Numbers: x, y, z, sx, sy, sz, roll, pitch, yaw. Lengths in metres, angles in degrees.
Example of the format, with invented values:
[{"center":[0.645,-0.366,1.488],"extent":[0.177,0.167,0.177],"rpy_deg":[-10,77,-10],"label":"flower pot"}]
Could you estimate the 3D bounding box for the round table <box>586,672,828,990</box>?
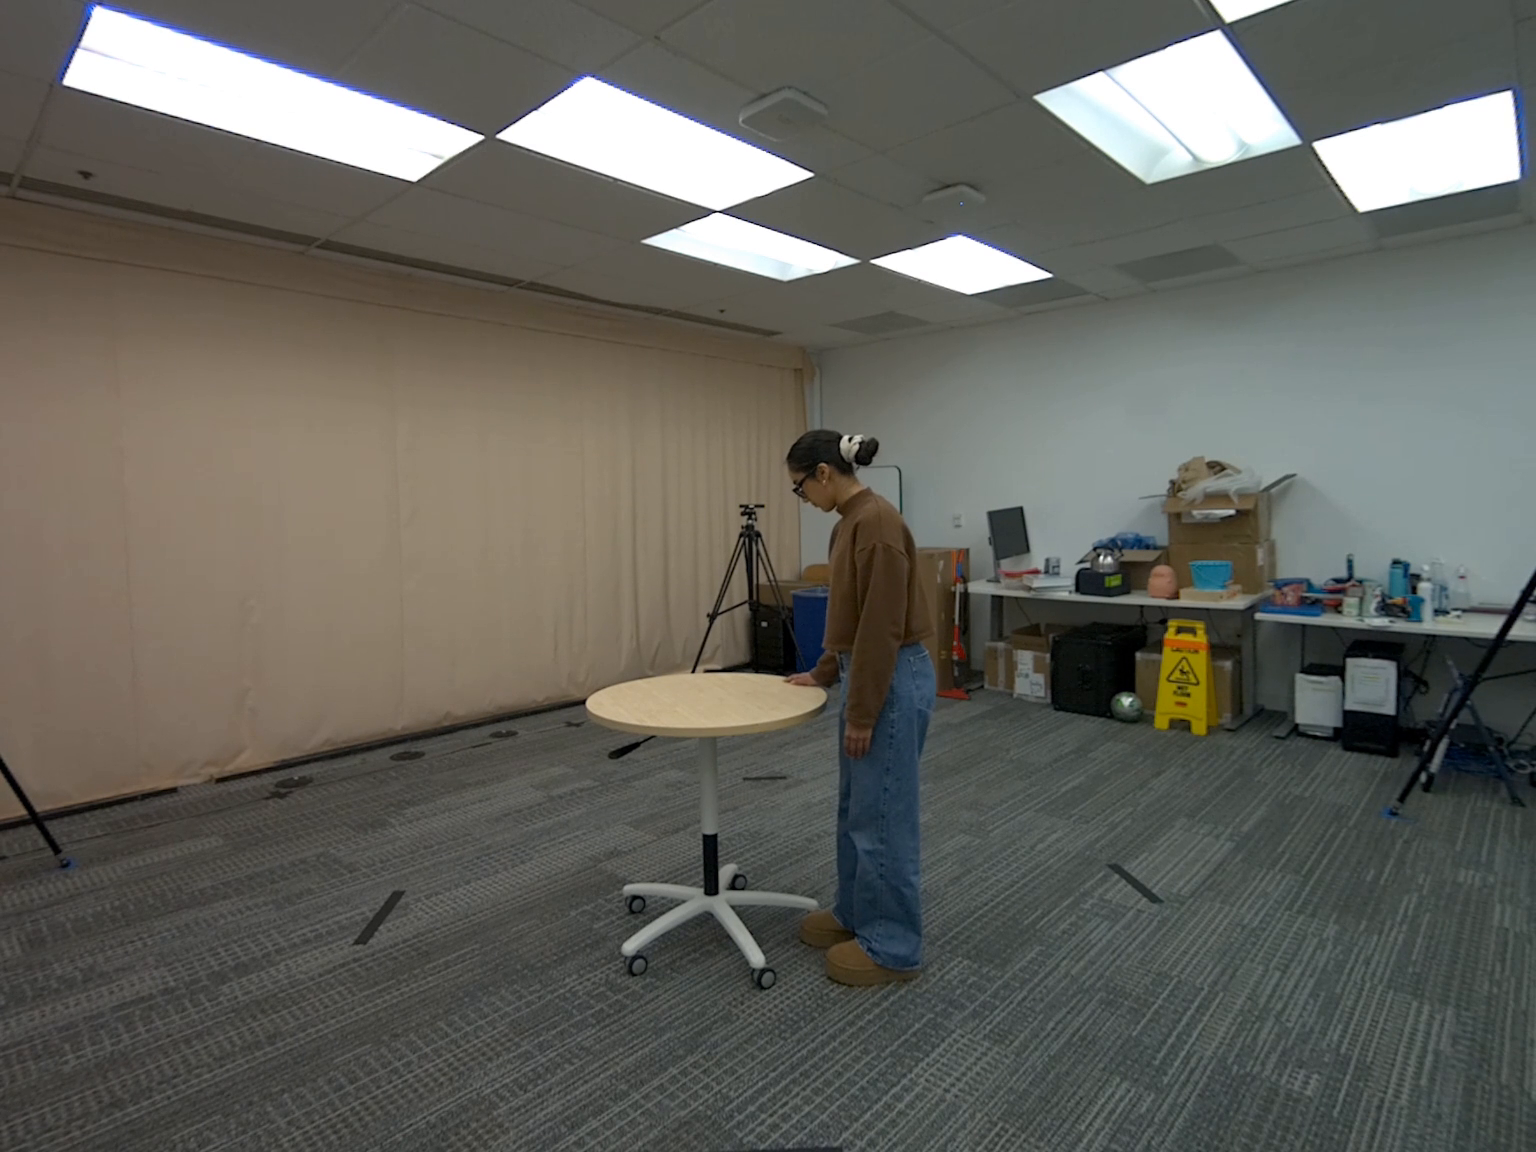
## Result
[{"center":[-0.186,0.780,2.711],"extent":[0.763,0.792,0.766],"rpy_deg":[-2,4,-2],"label":"round table"}]
